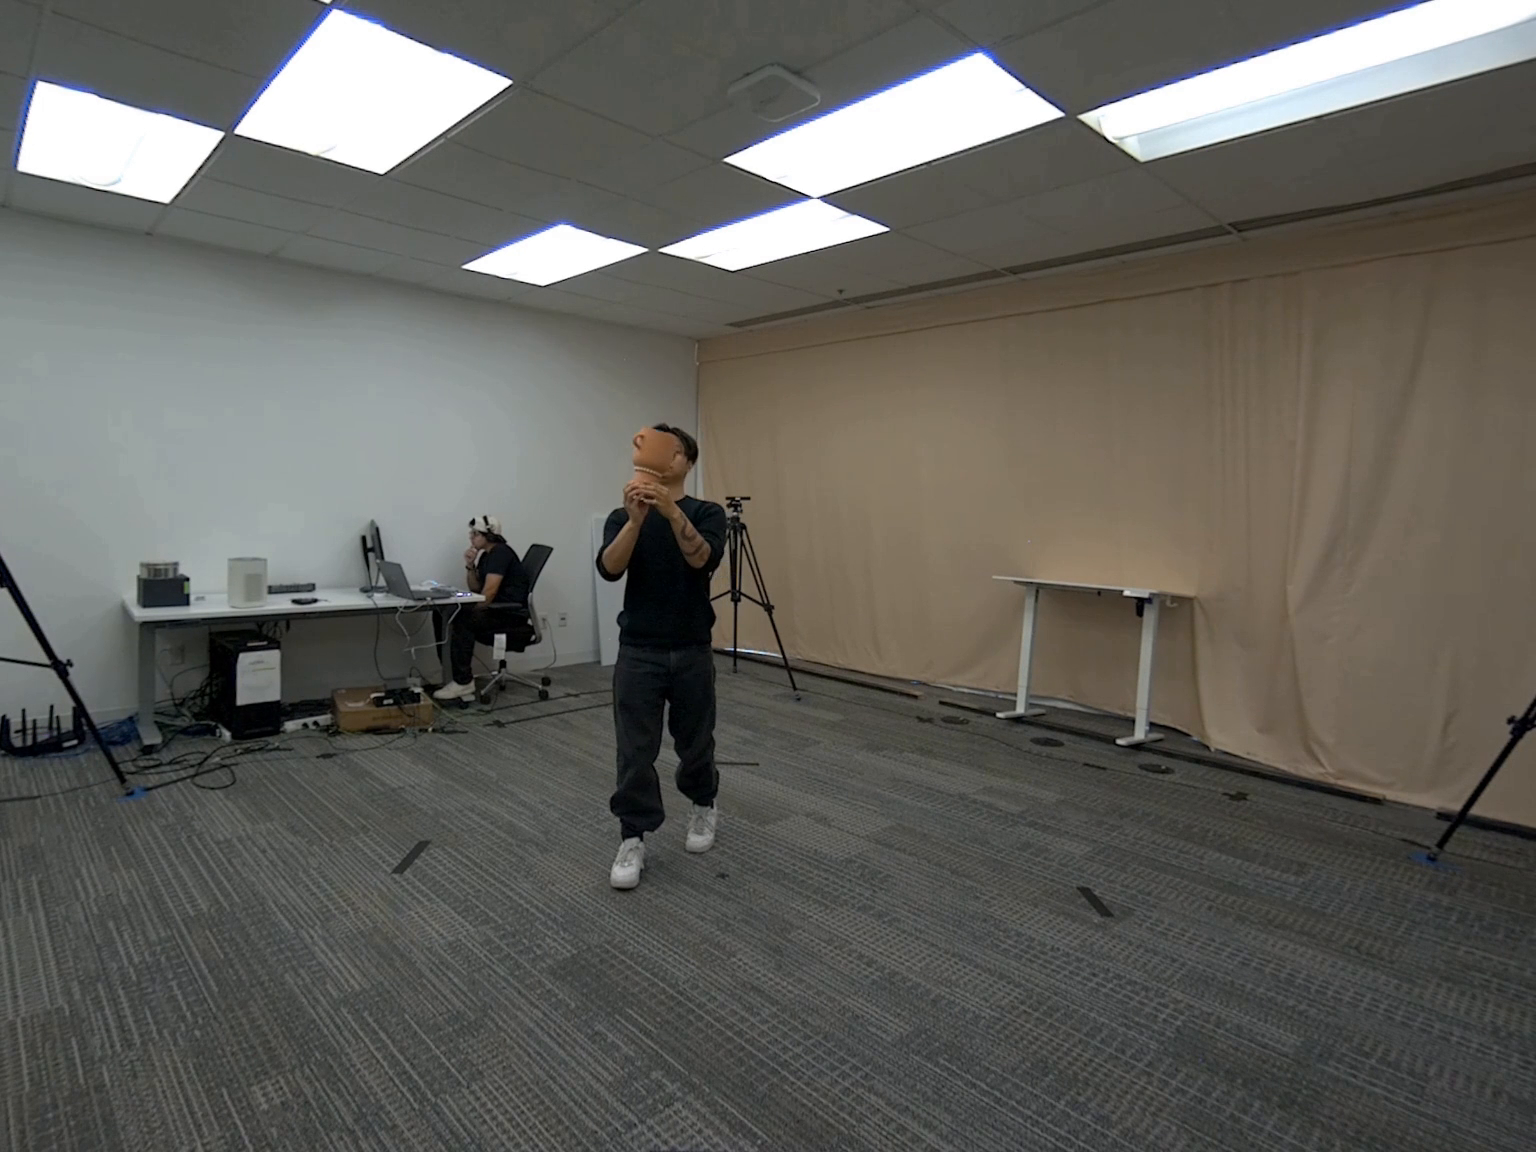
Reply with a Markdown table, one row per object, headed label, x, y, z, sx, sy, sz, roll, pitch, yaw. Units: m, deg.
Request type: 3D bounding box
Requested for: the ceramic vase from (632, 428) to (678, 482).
| label | x | y | z | sx | sy | sz | roll | pitch | yaw |
| --- | --- | --- | --- | --- | --- | --- | --- | --- | --- |
| ceramic vase | -0.415 | -0.378 | 2.866 | 0.157 | 0.220 | 0.136 | 16 | -5 | -11 |
